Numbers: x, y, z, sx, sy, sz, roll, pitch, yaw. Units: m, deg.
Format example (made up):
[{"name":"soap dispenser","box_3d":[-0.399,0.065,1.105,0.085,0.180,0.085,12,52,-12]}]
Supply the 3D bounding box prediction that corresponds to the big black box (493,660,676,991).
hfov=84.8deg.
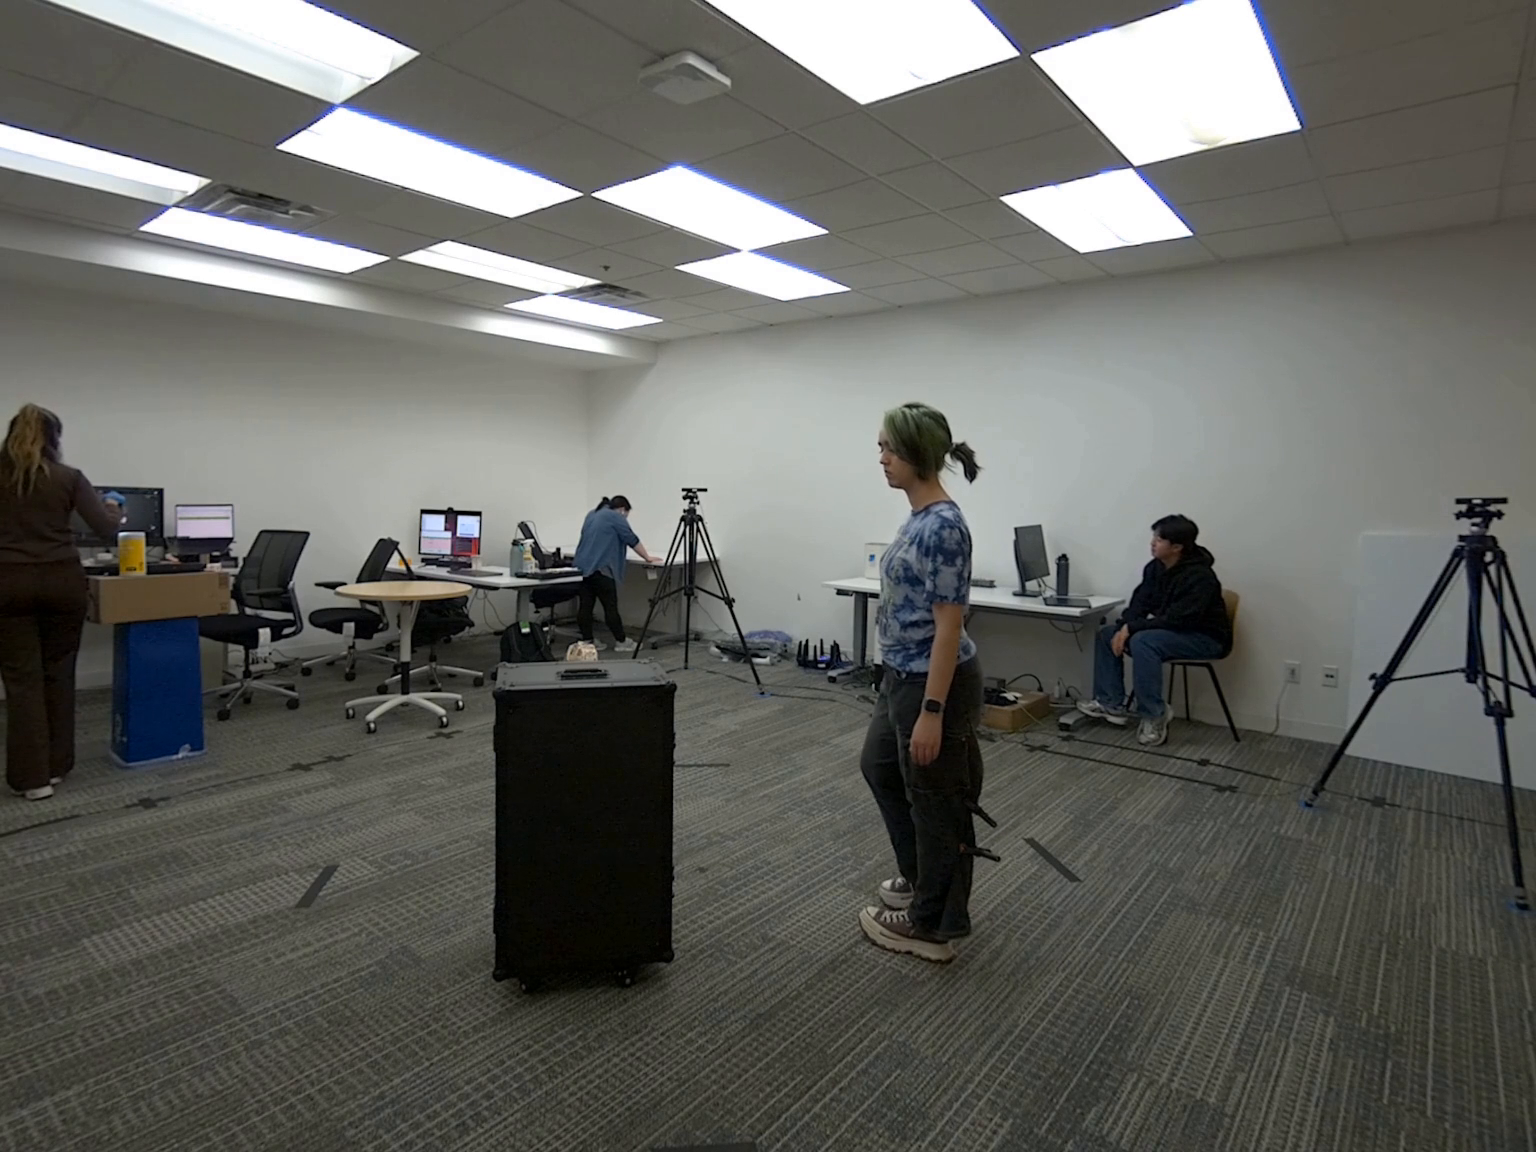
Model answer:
[{"name":"big black box","box_3d":[-0.556,0.707,2.476,0.514,0.860,0.402,0,2,-13]}]
